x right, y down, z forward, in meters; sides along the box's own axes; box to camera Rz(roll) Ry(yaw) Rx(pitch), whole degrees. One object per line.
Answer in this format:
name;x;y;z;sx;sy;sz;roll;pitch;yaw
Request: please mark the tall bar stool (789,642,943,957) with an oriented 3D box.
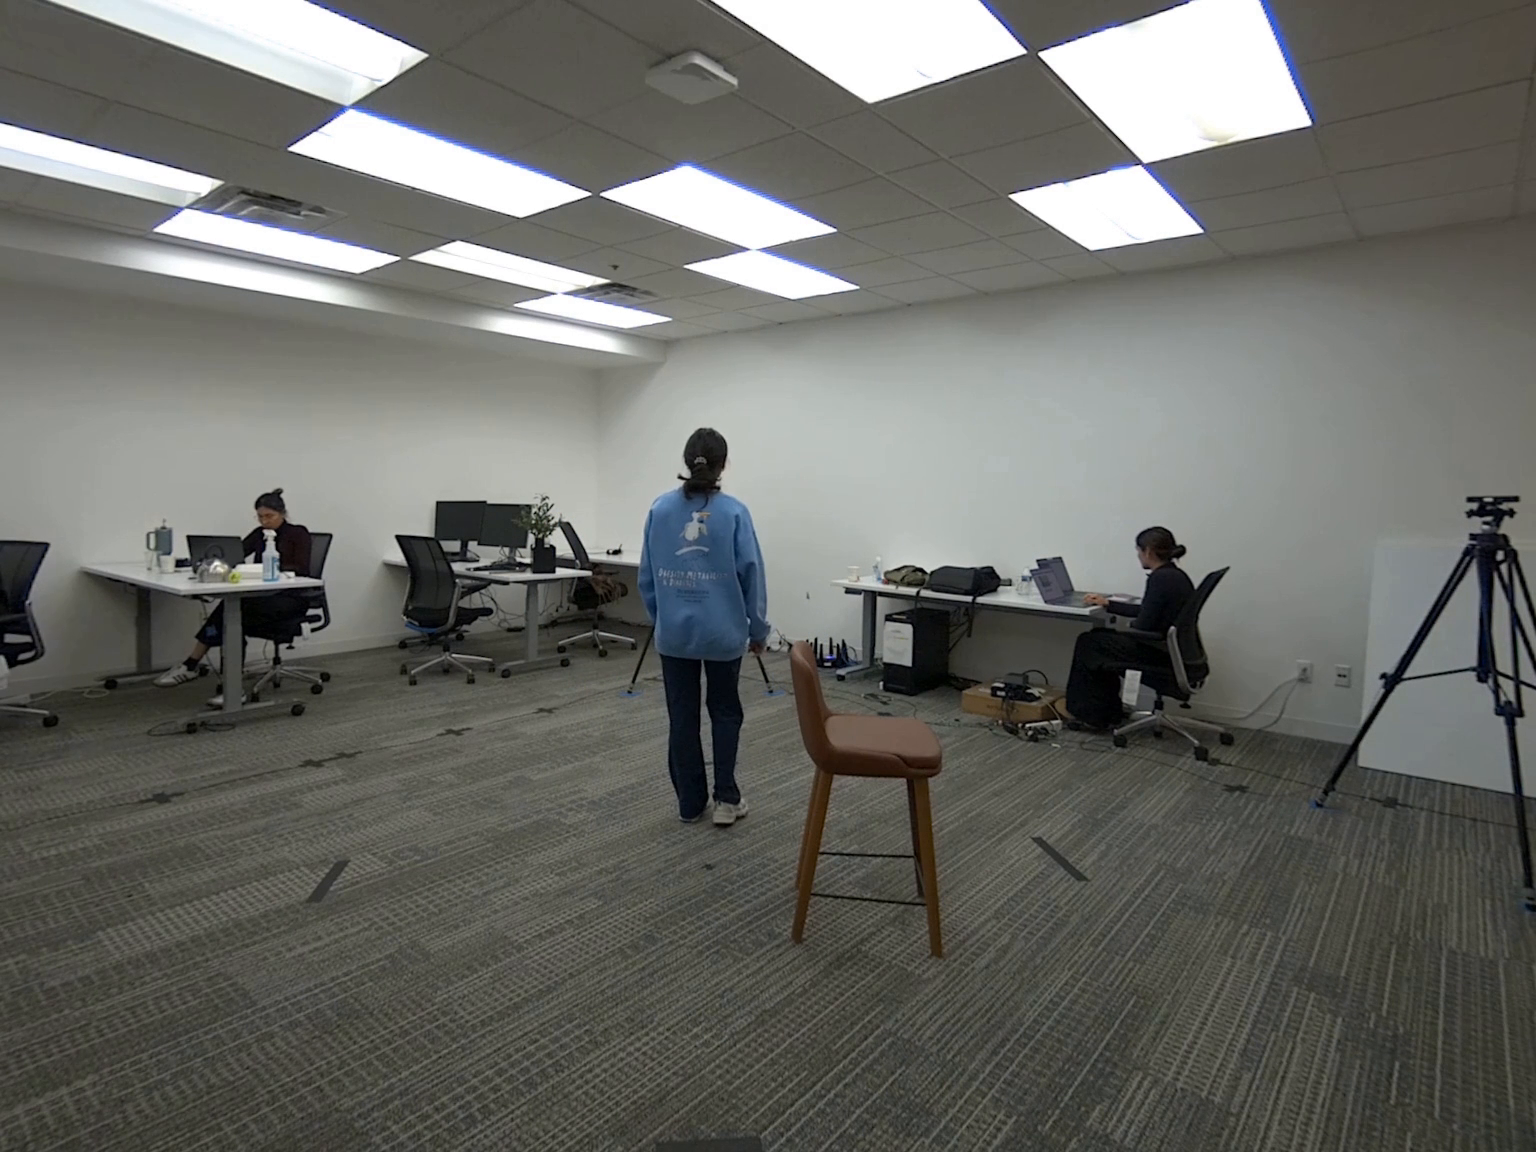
tall bar stool;0.310;0.678;2.749;0.471;0.888;0.454;0;3;6
